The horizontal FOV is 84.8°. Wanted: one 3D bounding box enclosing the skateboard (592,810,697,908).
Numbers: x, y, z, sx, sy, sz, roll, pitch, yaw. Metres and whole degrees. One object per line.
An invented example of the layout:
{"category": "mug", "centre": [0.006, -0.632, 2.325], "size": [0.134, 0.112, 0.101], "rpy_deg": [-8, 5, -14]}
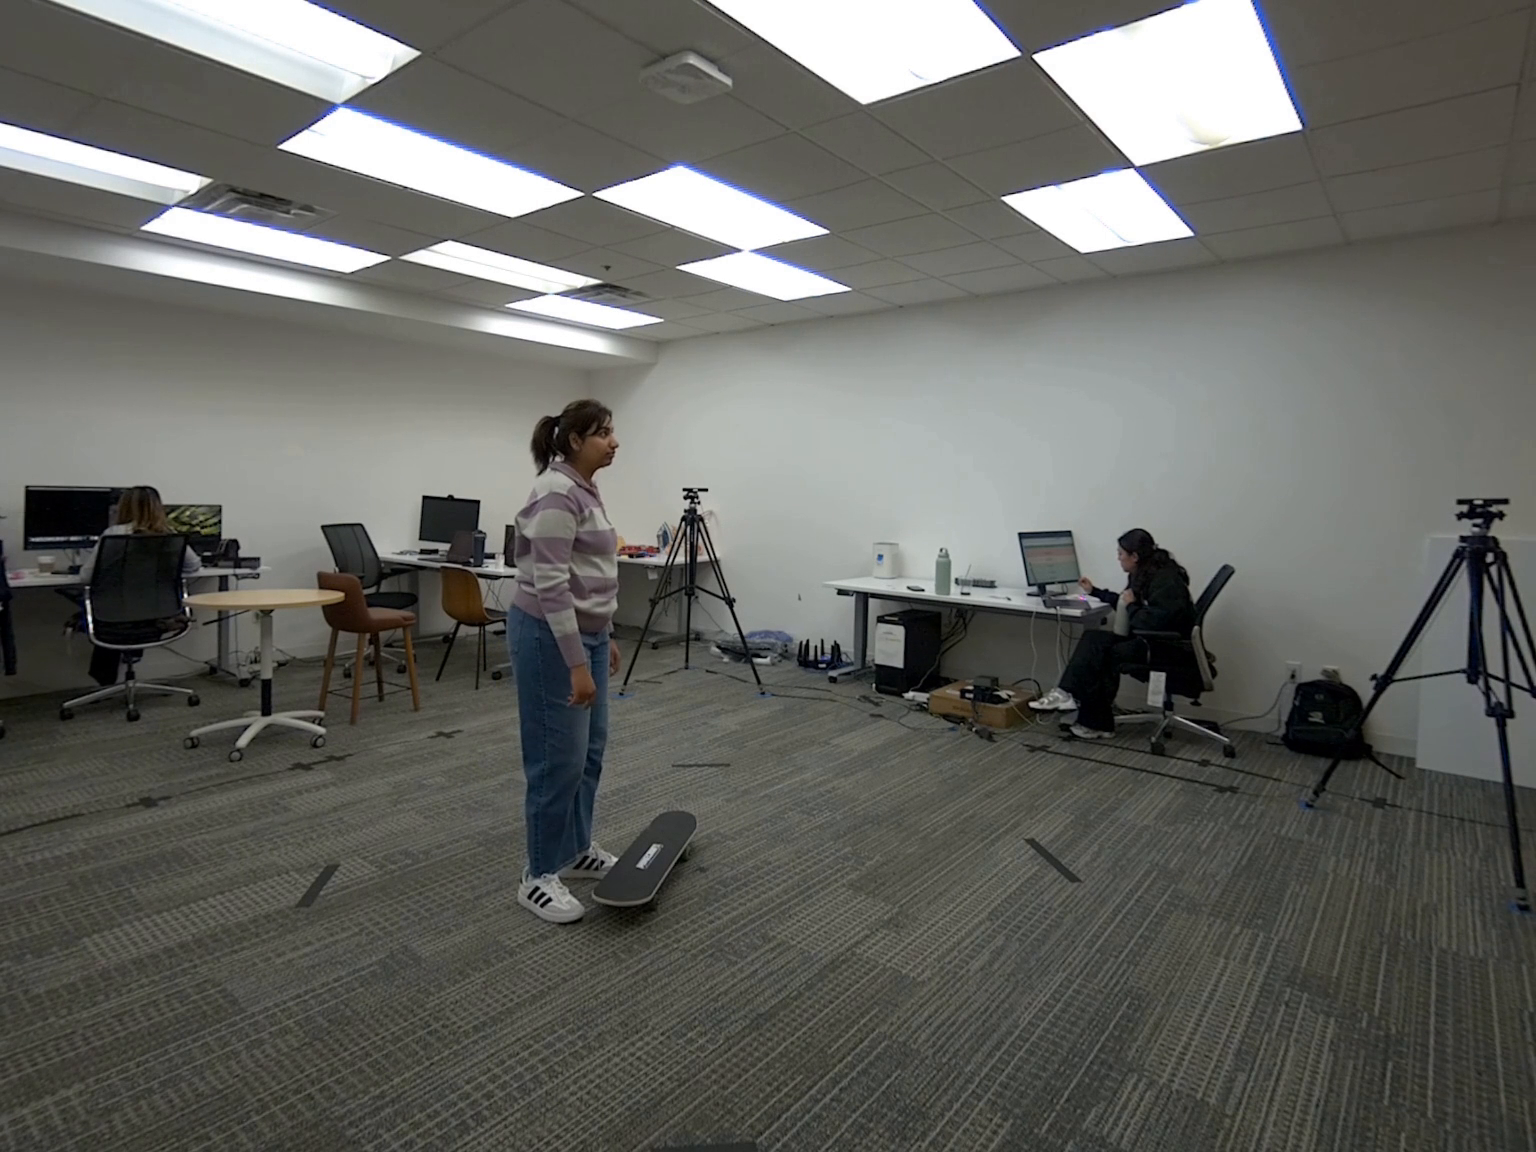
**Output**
{"category": "skateboard", "centre": [-0.428, 1.018, 3.009], "size": [0.196, 0.110, 0.778], "rpy_deg": [1, 5, 10]}
